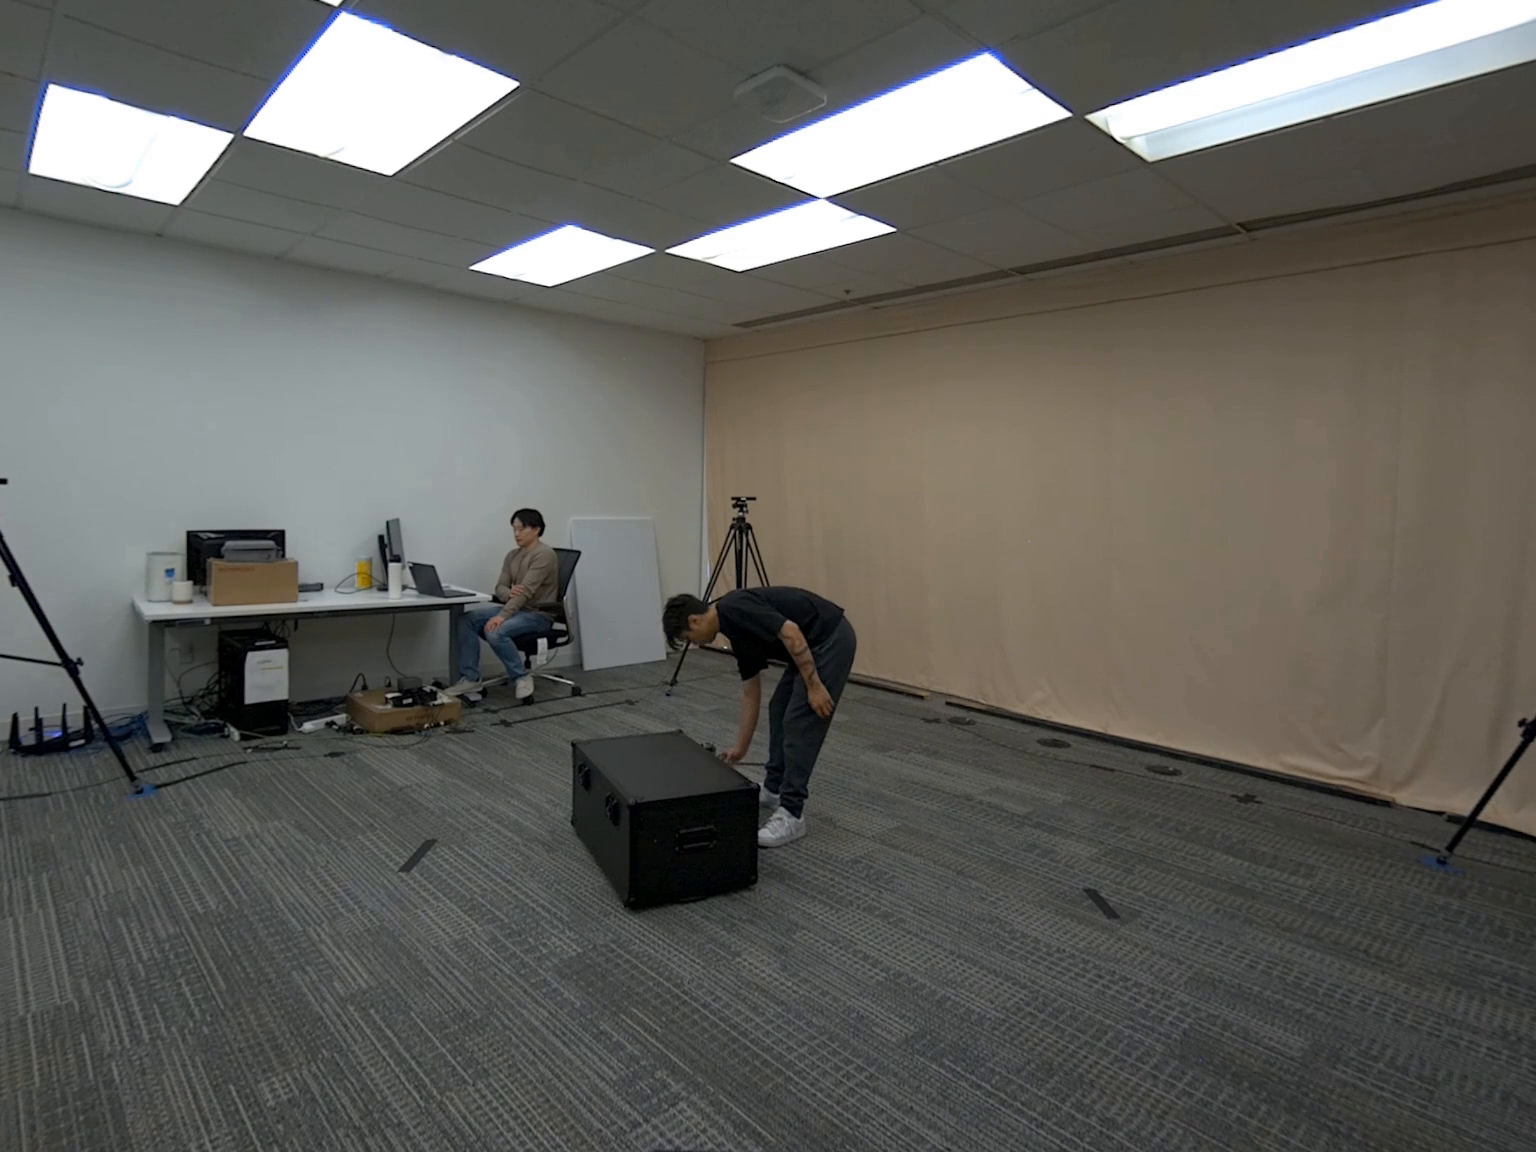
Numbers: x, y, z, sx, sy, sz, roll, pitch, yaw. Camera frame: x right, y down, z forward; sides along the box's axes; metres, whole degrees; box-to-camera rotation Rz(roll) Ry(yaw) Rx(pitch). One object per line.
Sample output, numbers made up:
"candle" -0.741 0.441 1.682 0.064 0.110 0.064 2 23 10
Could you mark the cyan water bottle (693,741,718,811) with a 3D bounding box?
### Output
"cyan water bottle" -0.284 0.902 3.834 0.092 0.283 0.092 2 1 -1
